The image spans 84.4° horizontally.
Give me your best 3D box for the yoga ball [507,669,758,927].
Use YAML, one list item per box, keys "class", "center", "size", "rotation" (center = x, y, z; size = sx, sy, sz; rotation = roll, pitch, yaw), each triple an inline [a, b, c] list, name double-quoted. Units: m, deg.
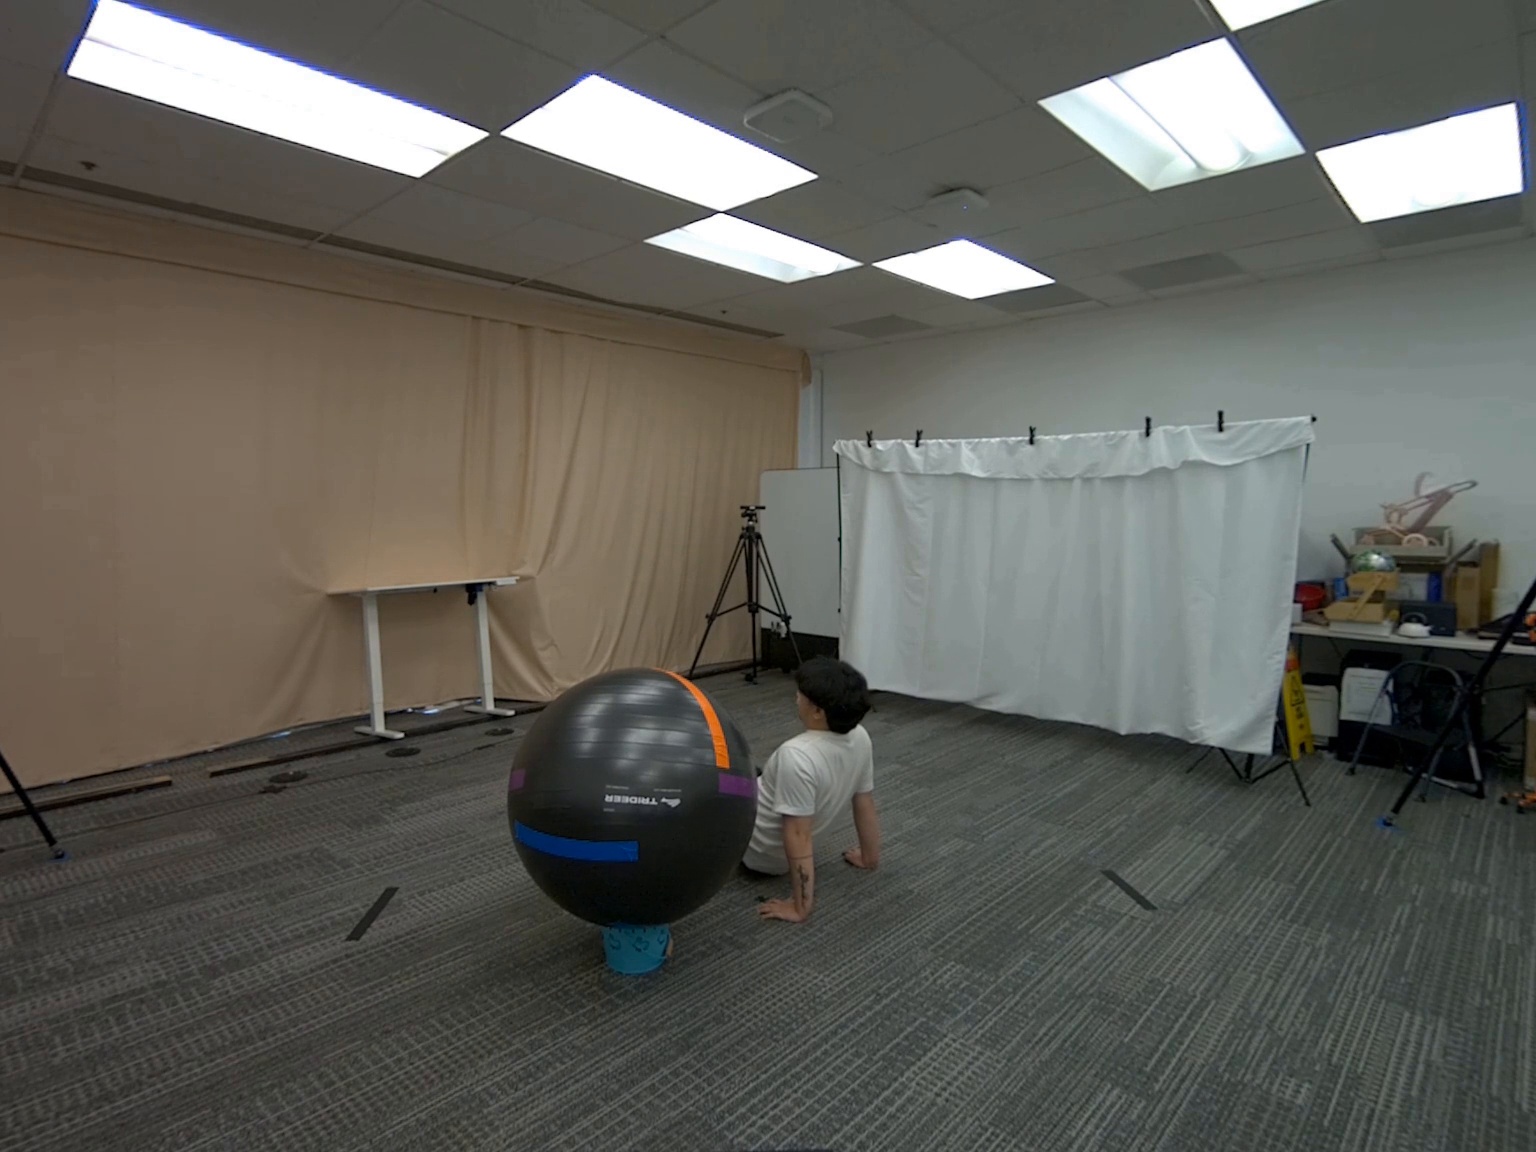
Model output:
- class: "yoga ball"
  center: [-0.419, 0.668, 2.577]
  size: [0.757, 0.756, 0.761]
  rotation: [0, 4, -2]
